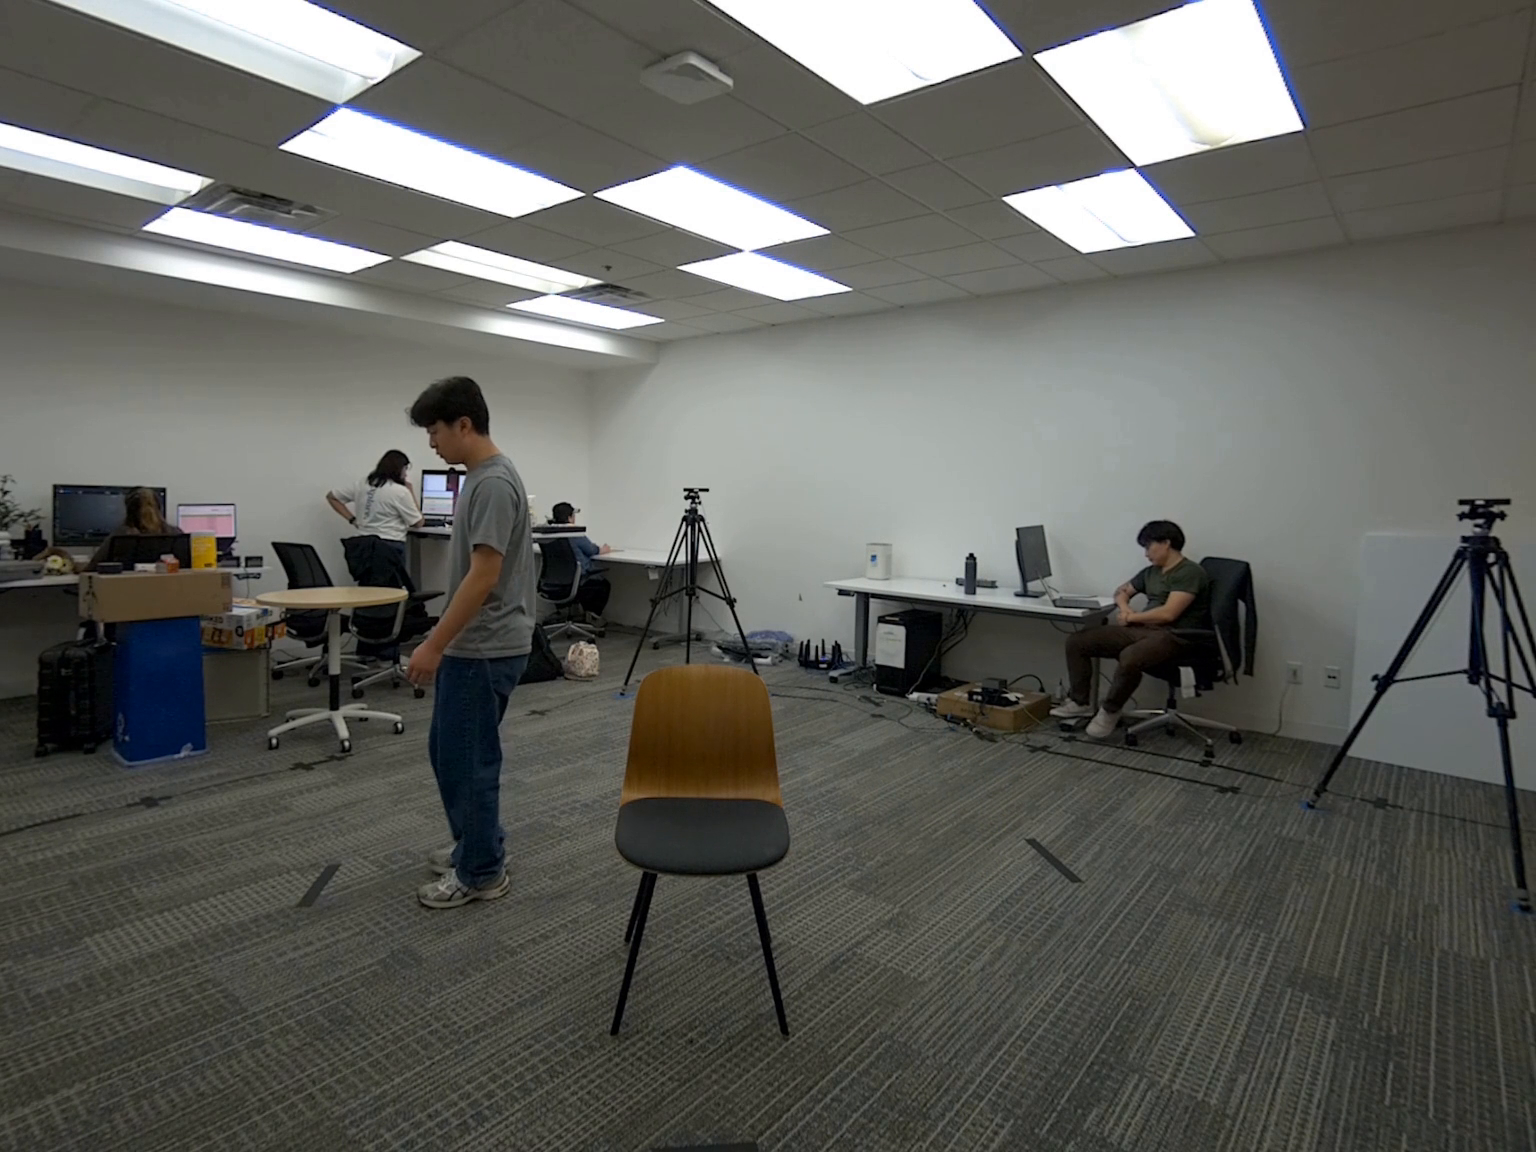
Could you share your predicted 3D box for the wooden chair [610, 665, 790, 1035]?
[{"bbox_3d":[-0.182,0.721,2.347,0.476,0.878,0.525,1,0,-5],"label":"wooden chair"}]
